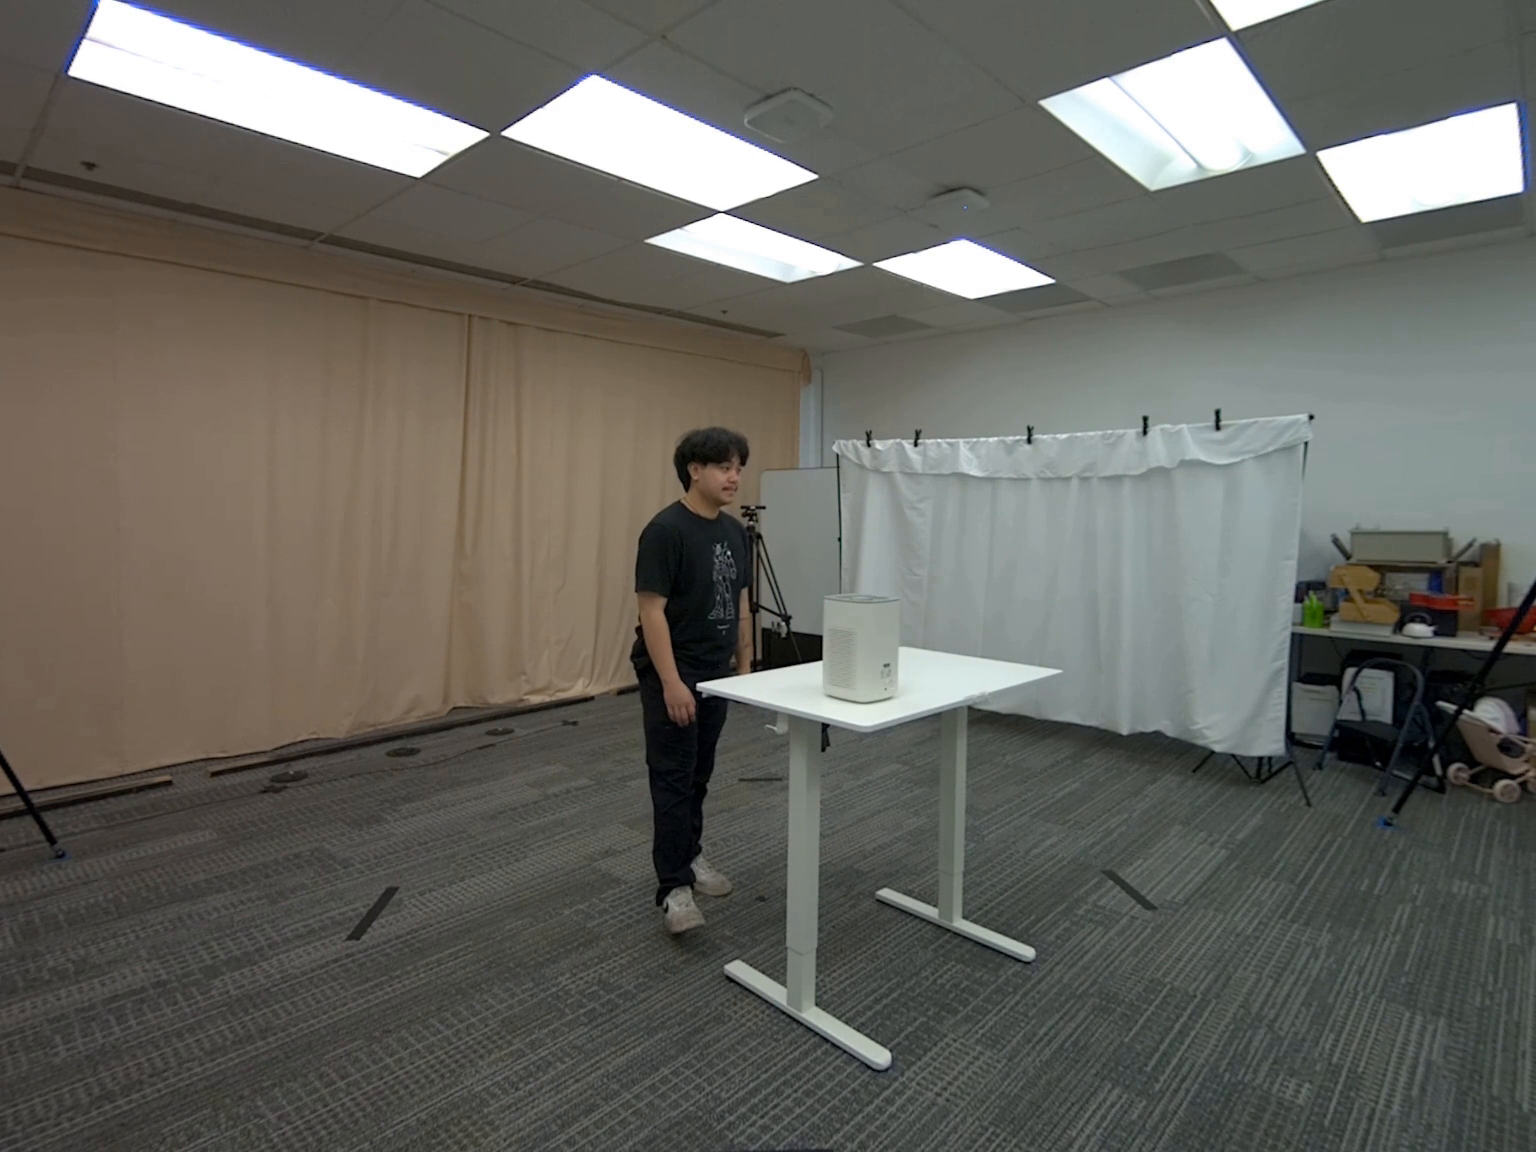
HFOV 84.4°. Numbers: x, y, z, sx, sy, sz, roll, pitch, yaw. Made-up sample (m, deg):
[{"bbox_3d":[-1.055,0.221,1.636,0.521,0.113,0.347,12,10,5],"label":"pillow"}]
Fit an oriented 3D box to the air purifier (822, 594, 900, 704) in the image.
[{"bbox_3d":[0.254,0.189,2.224,0.166,0.265,0.177,-1,5,-44],"label":"air purifier"}]
